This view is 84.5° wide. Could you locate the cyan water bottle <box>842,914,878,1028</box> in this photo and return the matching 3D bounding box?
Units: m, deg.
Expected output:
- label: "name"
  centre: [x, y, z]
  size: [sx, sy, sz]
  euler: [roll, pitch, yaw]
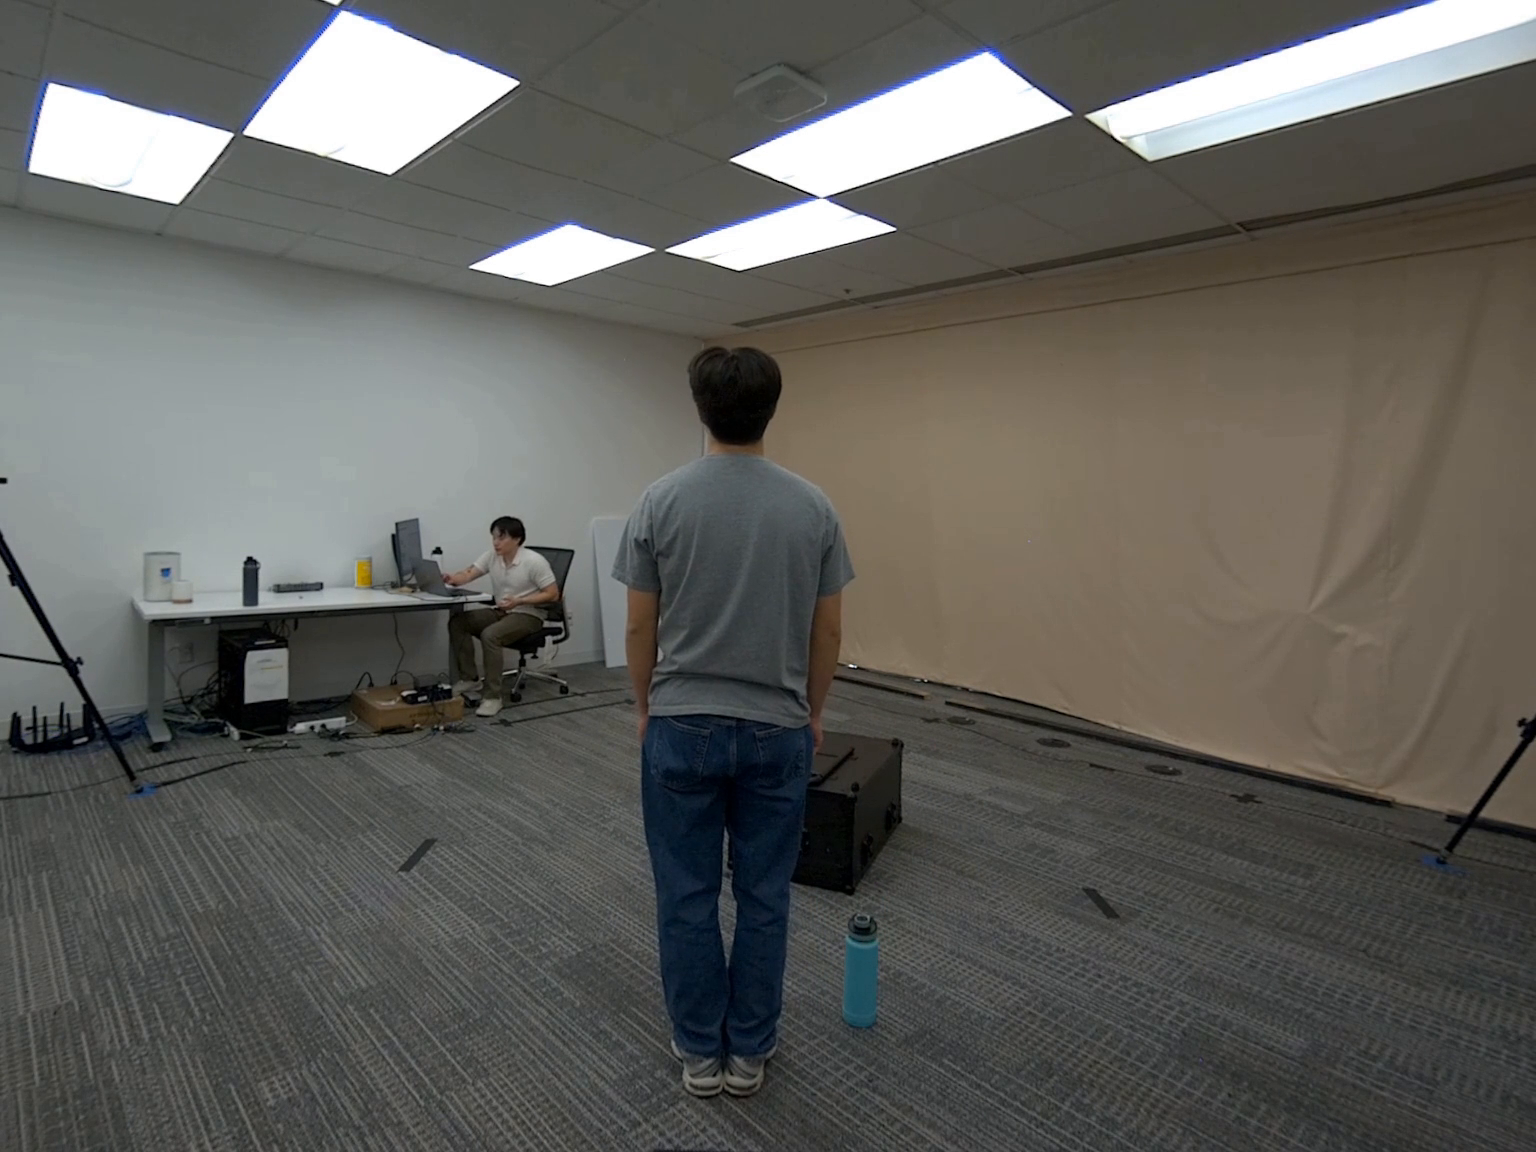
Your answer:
- label: "cyan water bottle"
  centre: [0.248, 1.053, 2.265]
  size: [0.092, 0.283, 0.092]
  euler: [3, 4, -2]
